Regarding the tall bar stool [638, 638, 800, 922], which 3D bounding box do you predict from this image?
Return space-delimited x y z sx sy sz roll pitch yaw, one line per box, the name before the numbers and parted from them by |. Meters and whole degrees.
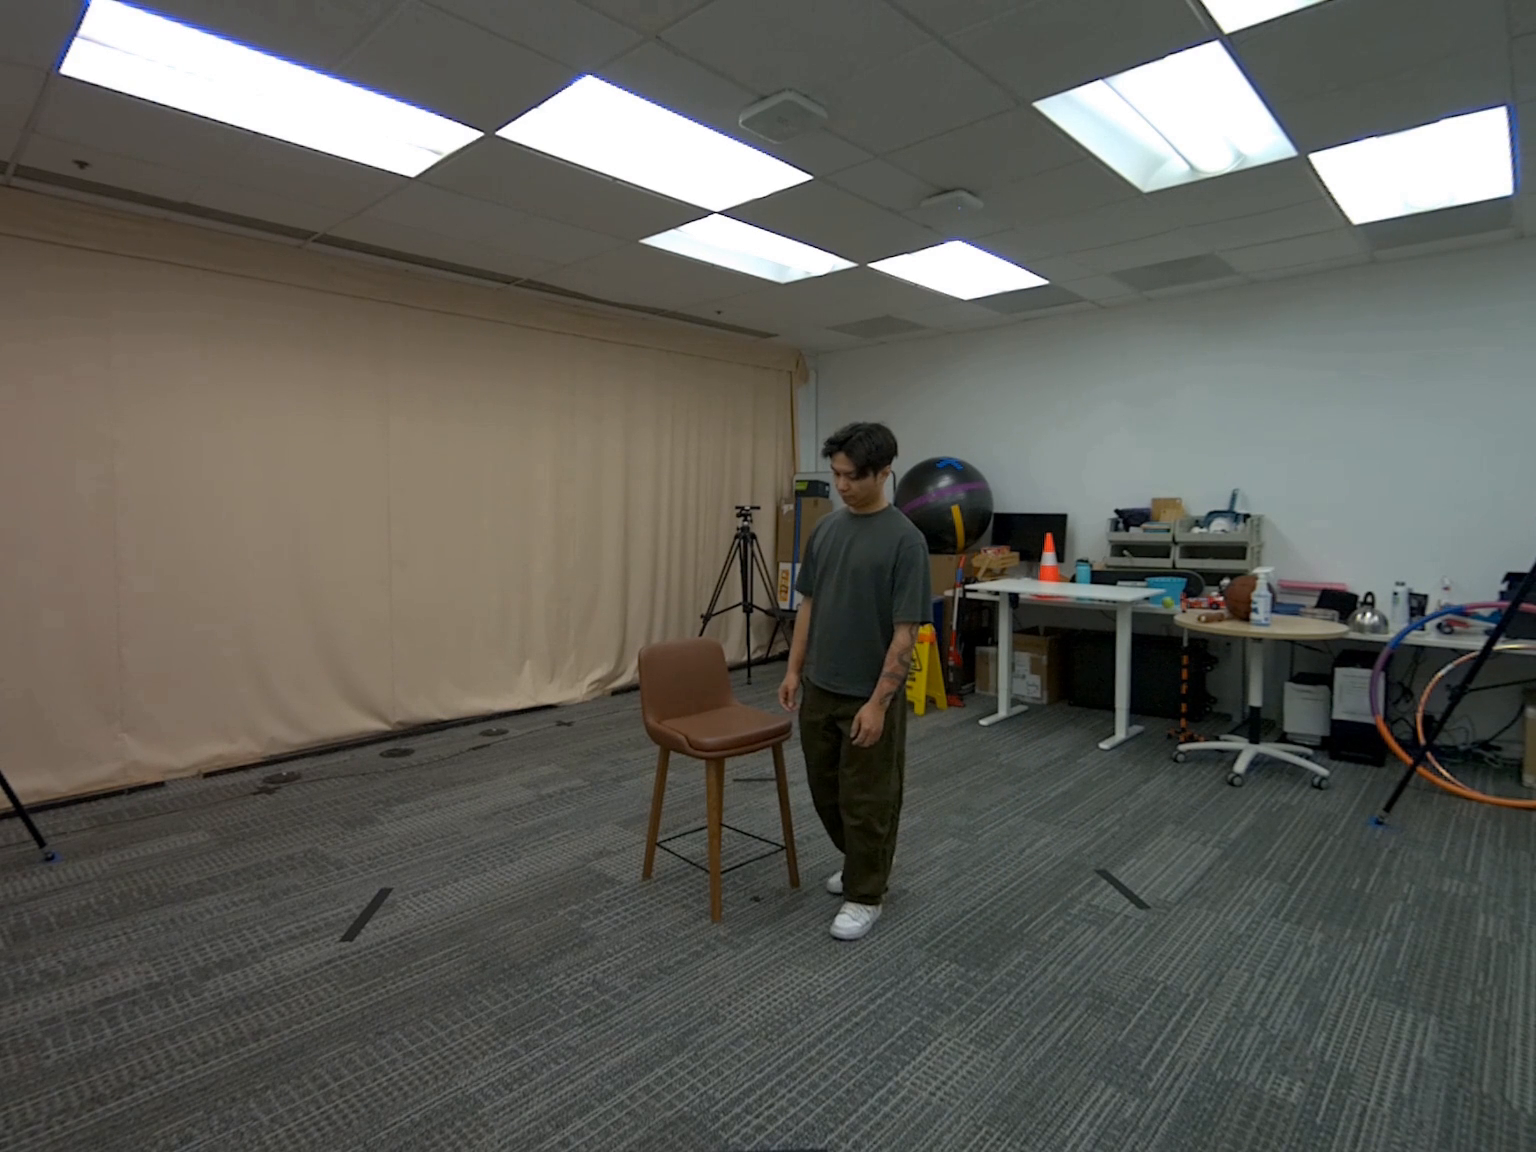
tall bar stool | -0.187 0.699 3.093 0.442 0.889 0.483 -3 2 -42
